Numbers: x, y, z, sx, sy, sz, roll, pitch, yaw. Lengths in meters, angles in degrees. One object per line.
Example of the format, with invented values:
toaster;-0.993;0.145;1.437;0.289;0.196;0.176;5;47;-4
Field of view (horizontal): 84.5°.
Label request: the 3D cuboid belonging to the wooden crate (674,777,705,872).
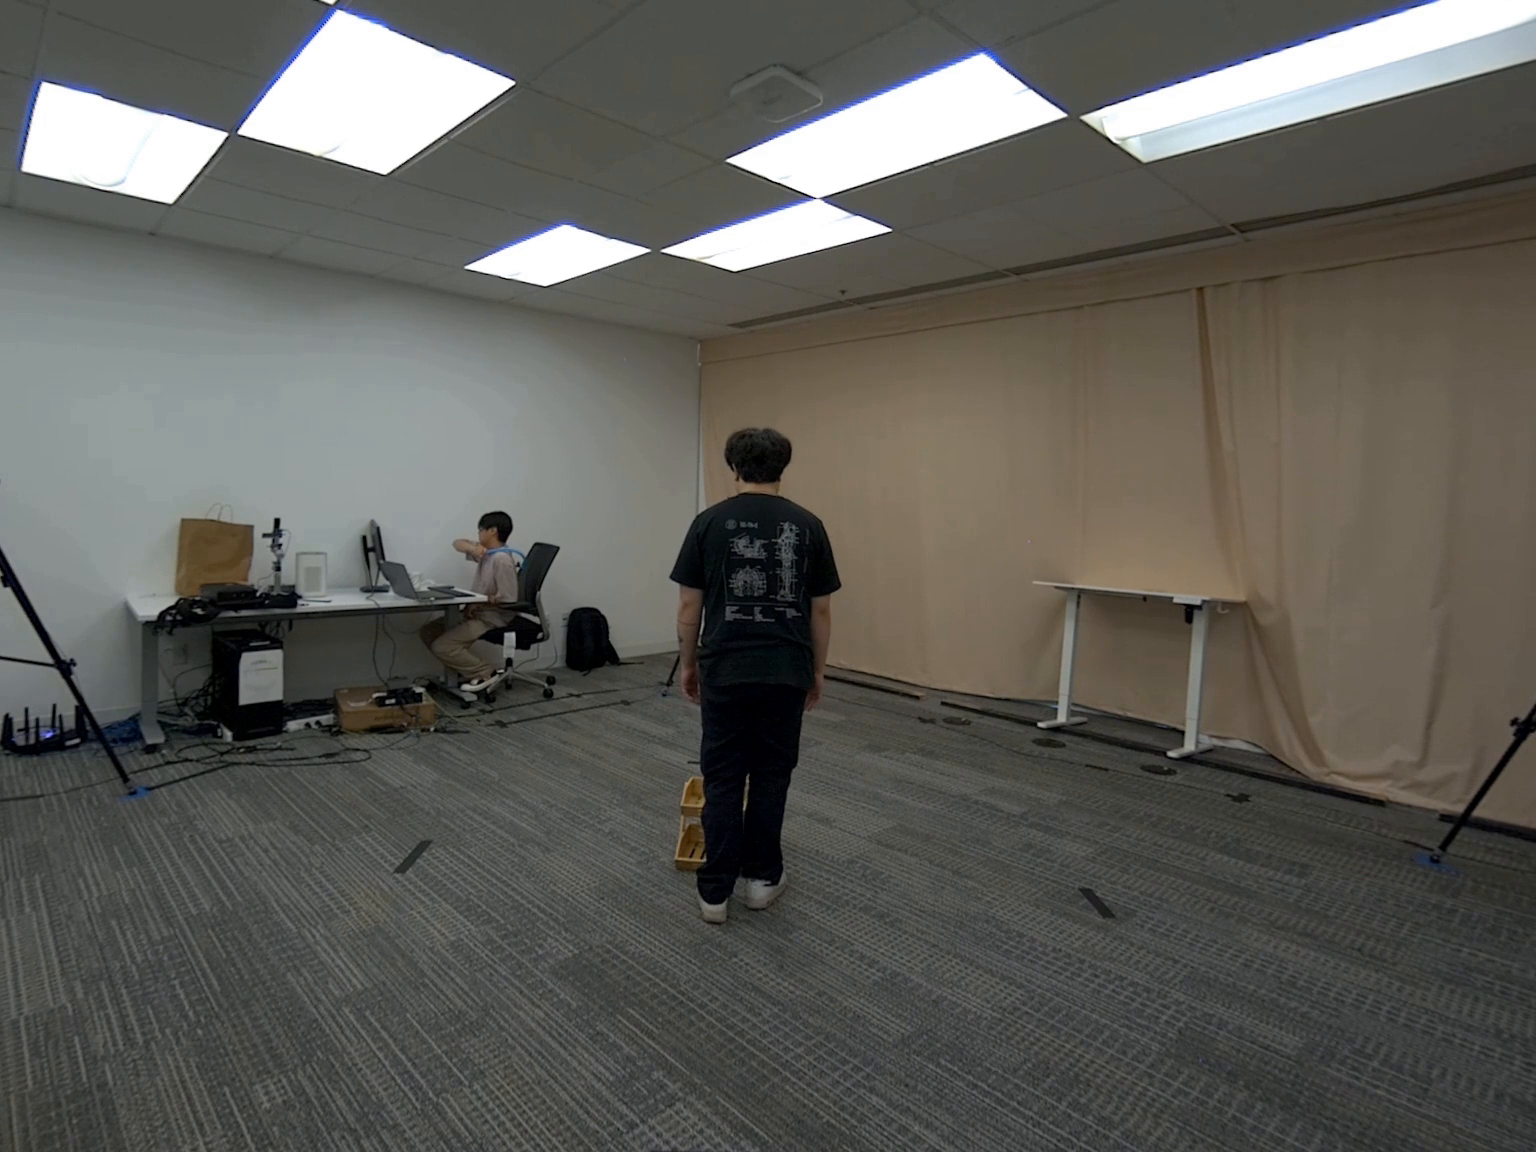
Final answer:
wooden crate;-0.186;0.963;3.246;0.326;0.273;0.301;2;3;6
